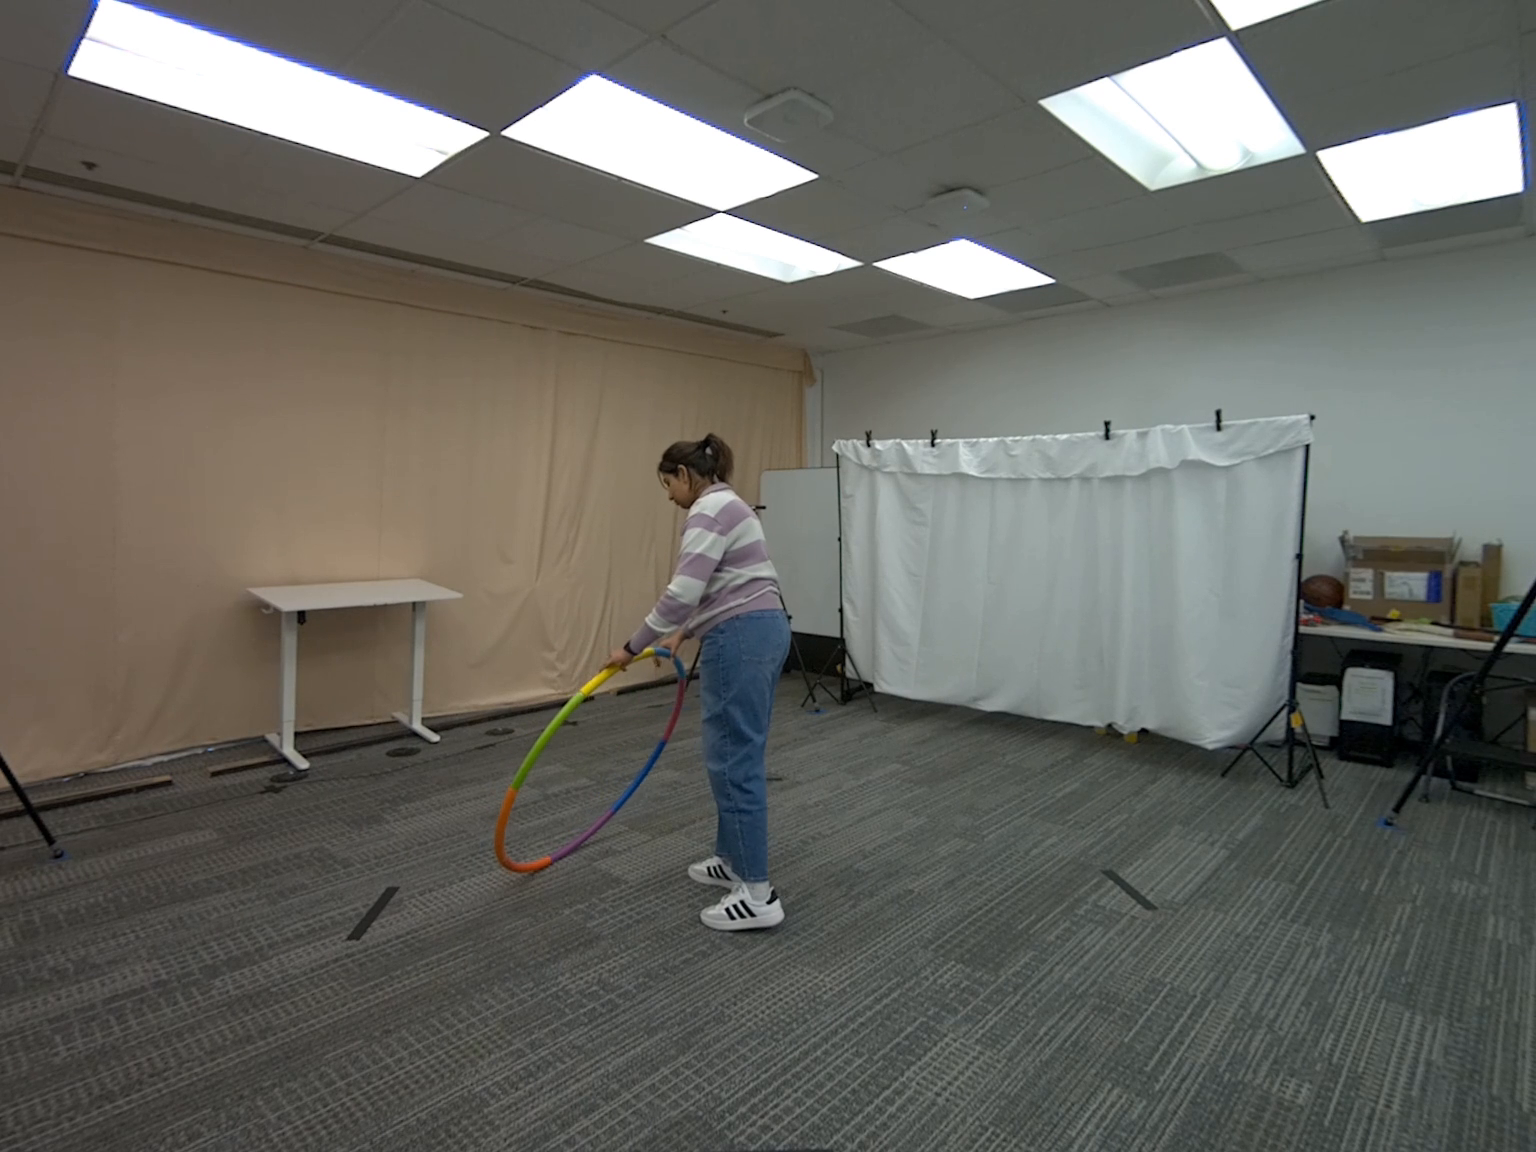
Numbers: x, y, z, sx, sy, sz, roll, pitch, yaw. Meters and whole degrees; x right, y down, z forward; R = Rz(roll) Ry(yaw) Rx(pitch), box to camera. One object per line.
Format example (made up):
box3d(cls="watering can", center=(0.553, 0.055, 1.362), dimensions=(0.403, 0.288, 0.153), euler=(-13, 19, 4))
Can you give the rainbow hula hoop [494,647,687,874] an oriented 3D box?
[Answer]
box3d(cls="rainbow hula hoop", center=(-0.643, 0.703, 3.196), dimensions=(0.036, 0.977, 0.954), euler=(33, 18, 22))
